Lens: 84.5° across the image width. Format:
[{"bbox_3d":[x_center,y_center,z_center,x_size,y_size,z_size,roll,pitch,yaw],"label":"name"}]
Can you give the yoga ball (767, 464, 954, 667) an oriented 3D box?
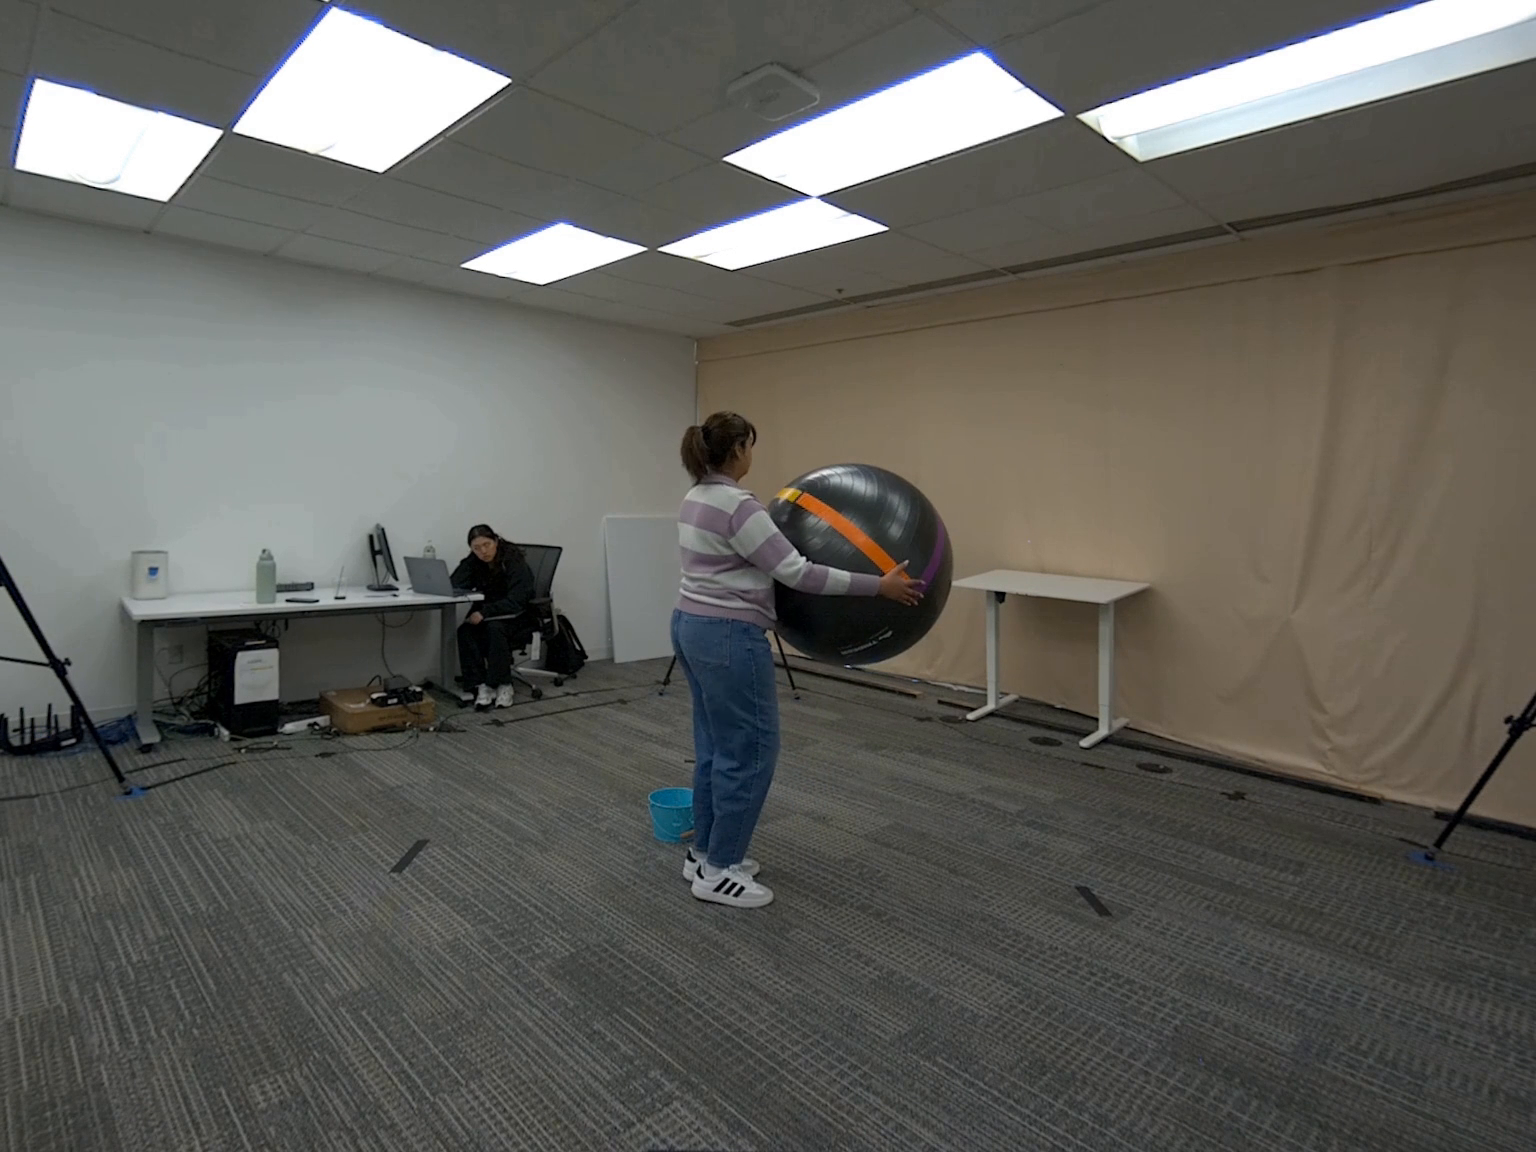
[{"bbox_3d":[0.308,-0.040,3.176,0.757,0.756,0.761,1,4,-1],"label":"yoga ball"}]
